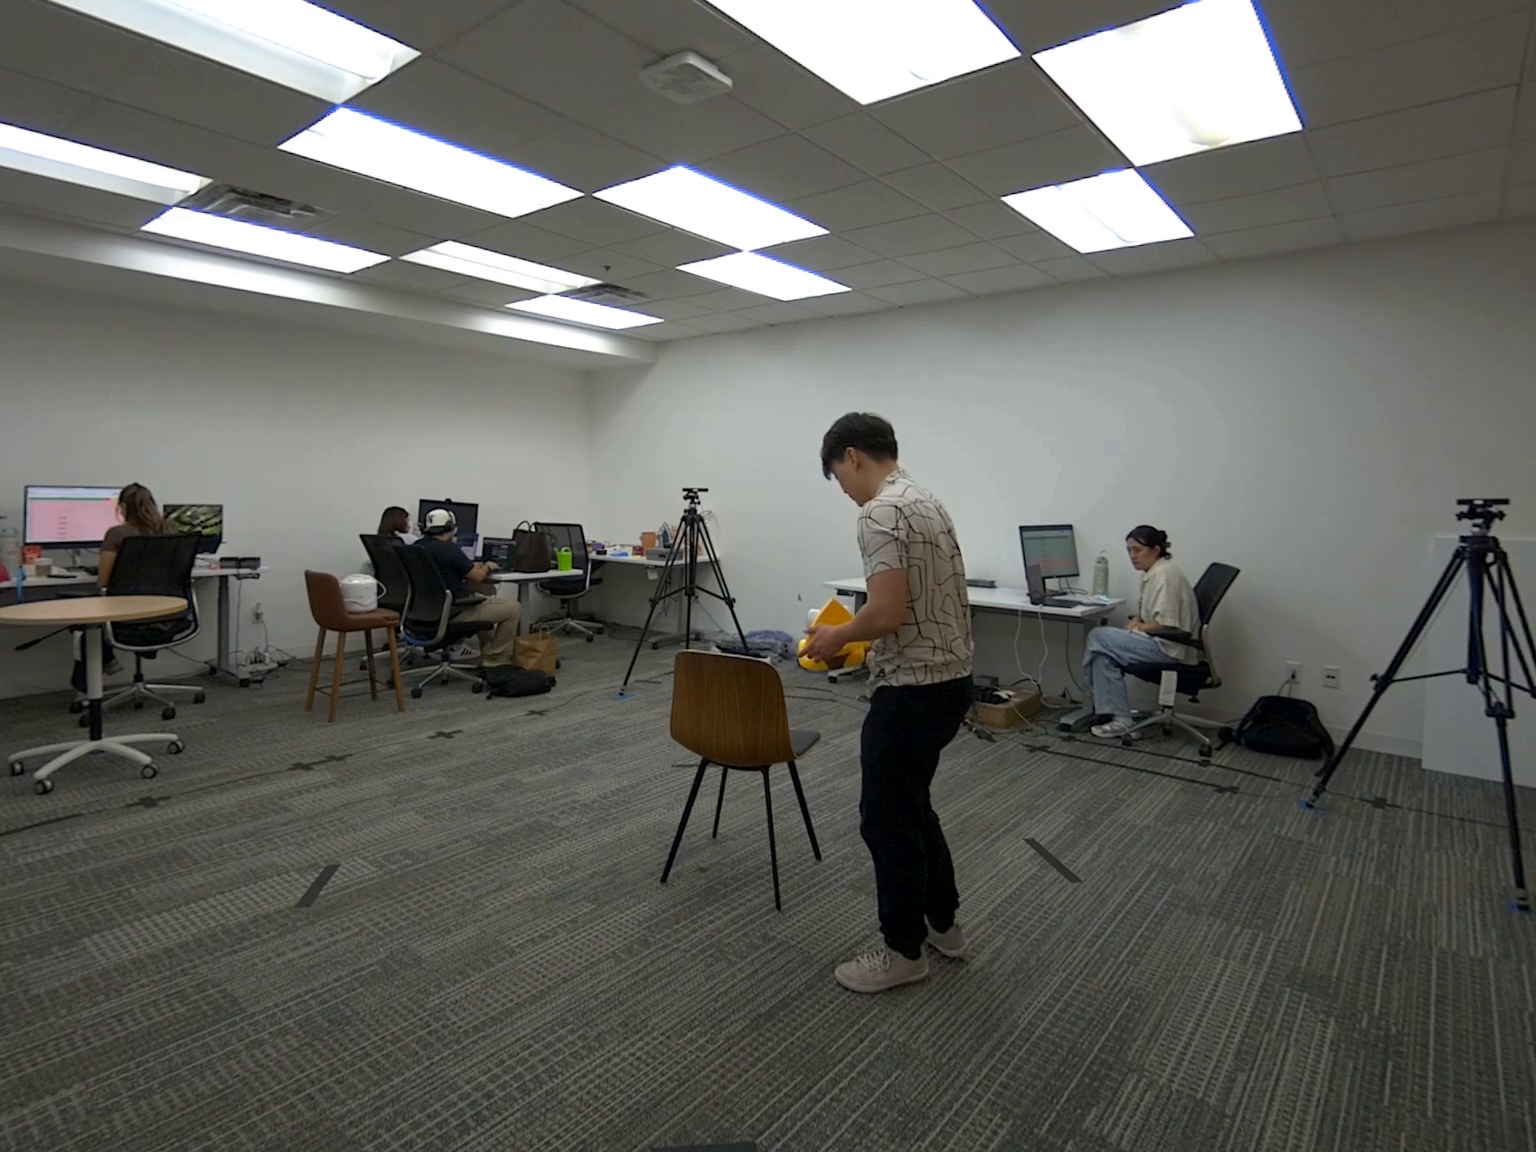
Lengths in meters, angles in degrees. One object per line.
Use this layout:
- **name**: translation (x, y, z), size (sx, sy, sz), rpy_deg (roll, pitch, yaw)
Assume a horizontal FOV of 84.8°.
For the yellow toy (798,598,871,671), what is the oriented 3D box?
- **yellow toy**: translation (0.187, 0.144, 2.575), size (0.204, 0.225, 0.198), rpy_deg (-5, 24, -5)
